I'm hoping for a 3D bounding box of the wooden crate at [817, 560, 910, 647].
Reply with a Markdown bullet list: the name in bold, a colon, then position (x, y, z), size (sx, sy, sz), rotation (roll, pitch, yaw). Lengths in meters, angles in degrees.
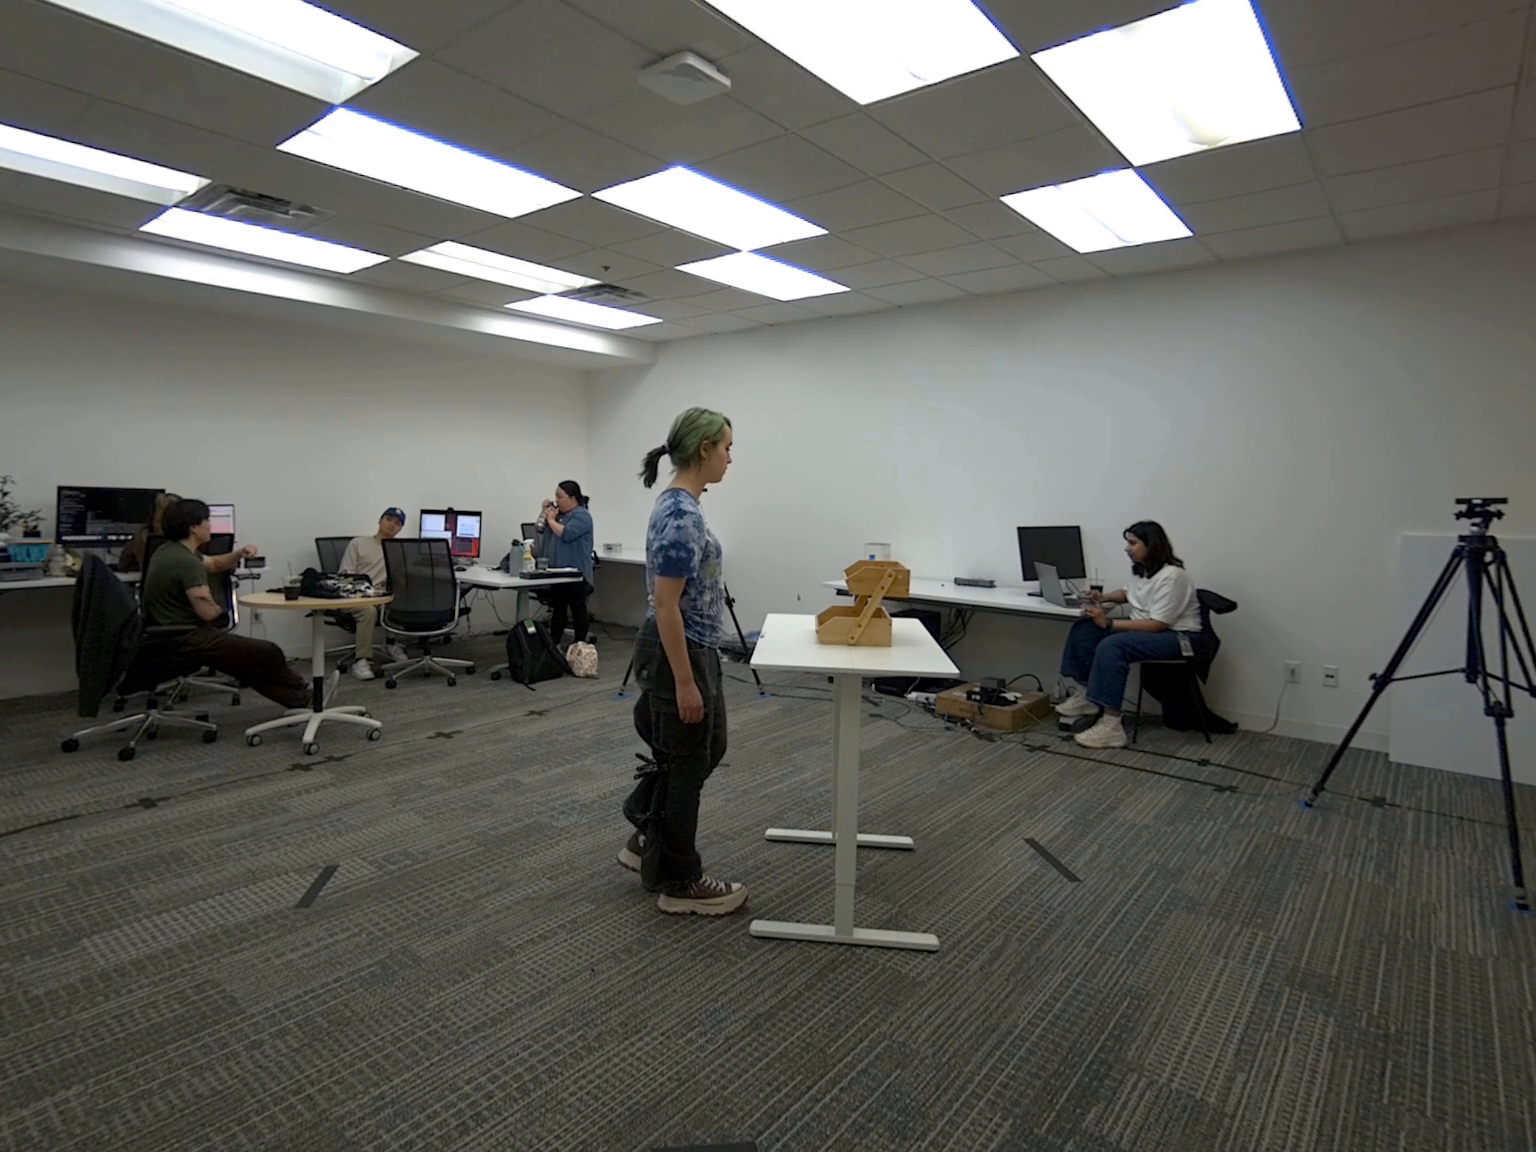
- **wooden crate**: position (0.309, 0.083, 2.943), size (0.304, 0.272, 0.324), rotation (3, 5, 4)
